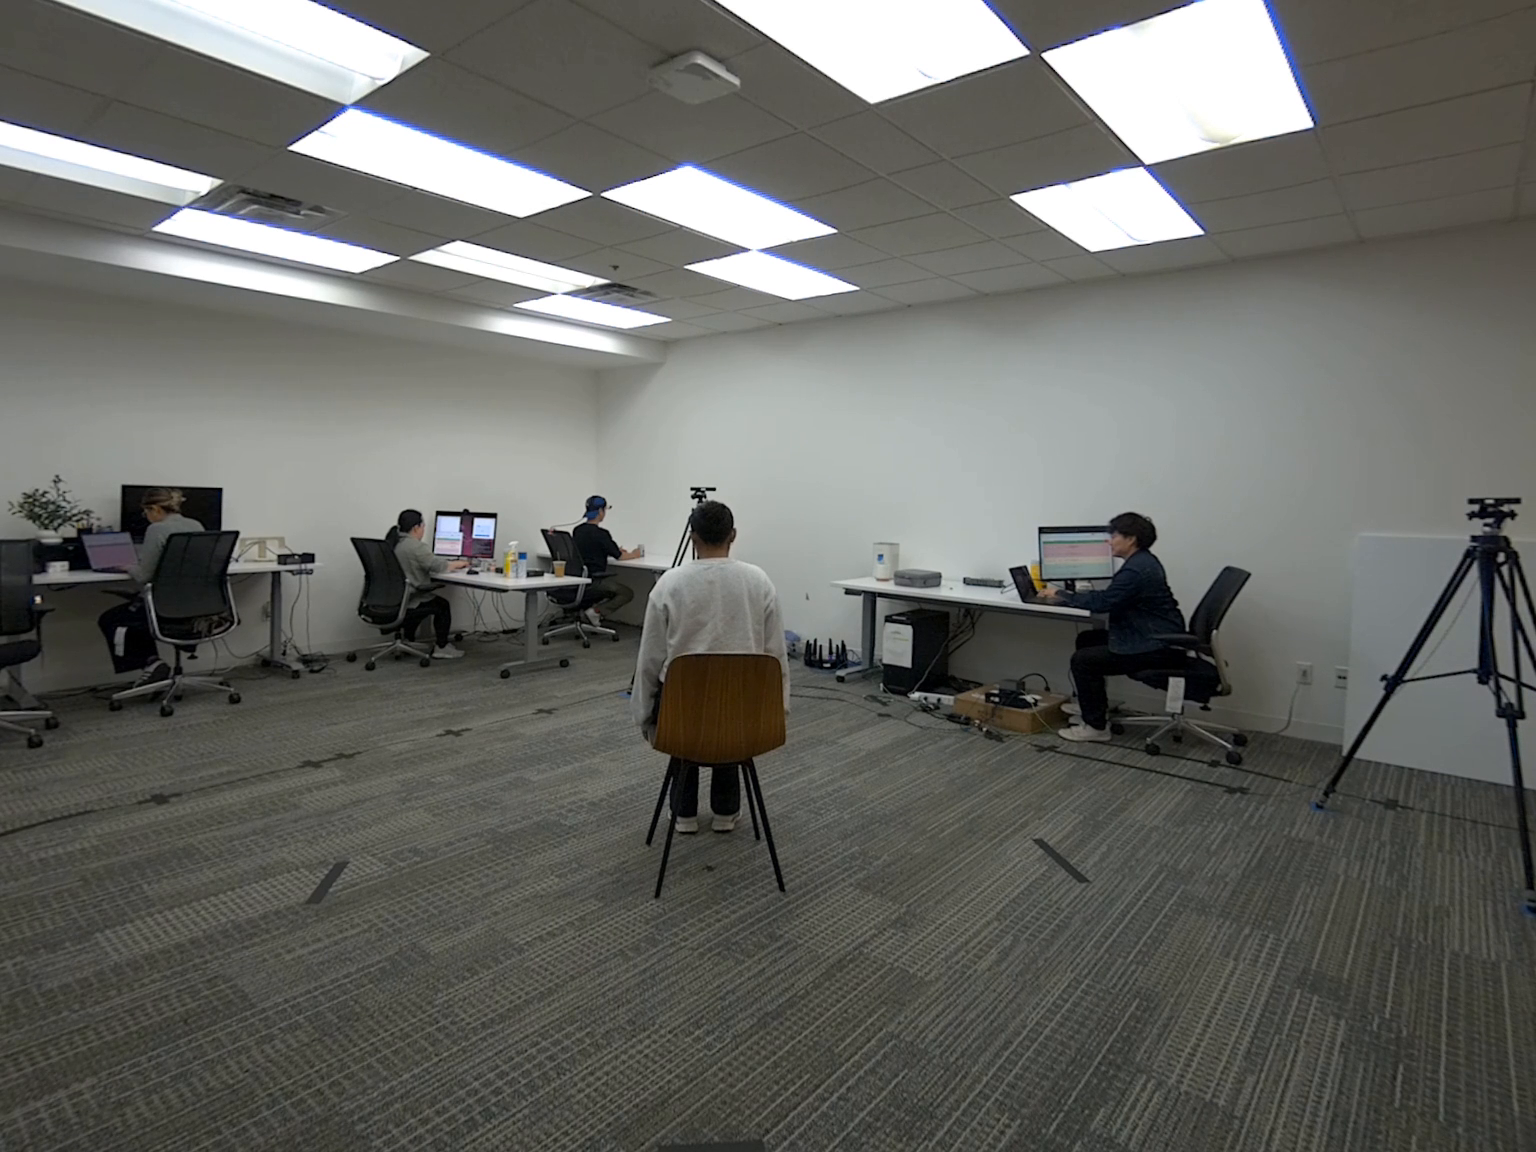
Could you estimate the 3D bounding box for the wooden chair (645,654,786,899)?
[{"bbox_3d":[-0.212,0.639,3.107,0.473,0.872,0.533,0,7,-12],"label":"wooden chair"}]
